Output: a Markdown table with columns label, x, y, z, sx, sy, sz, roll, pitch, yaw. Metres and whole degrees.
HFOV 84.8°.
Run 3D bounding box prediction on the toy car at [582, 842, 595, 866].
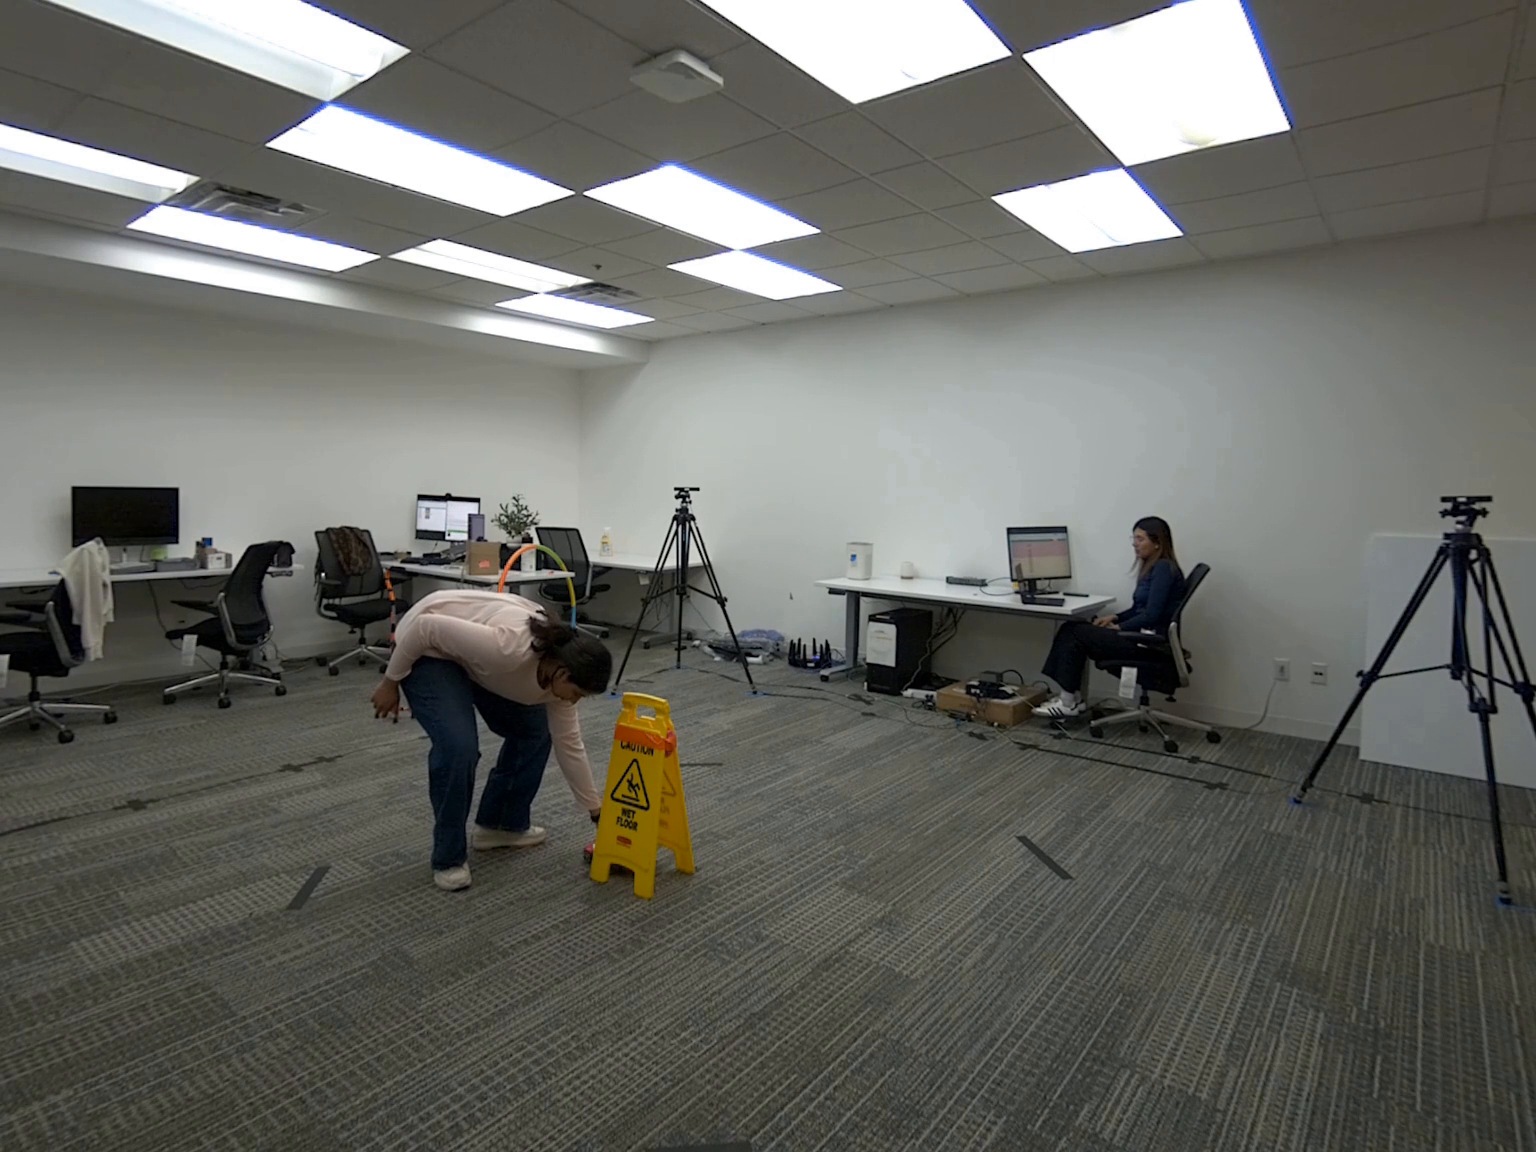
| label | x | y | z | sx | sy | sz | roll | pitch | yaw |
| --- | --- | --- | --- | --- | --- | --- | --- | --- | --- |
| toy car | -0.574 | 1.031 | 3.119 | 0.262 | 0.083 | 0.126 | -3 | 1 | 37 |
